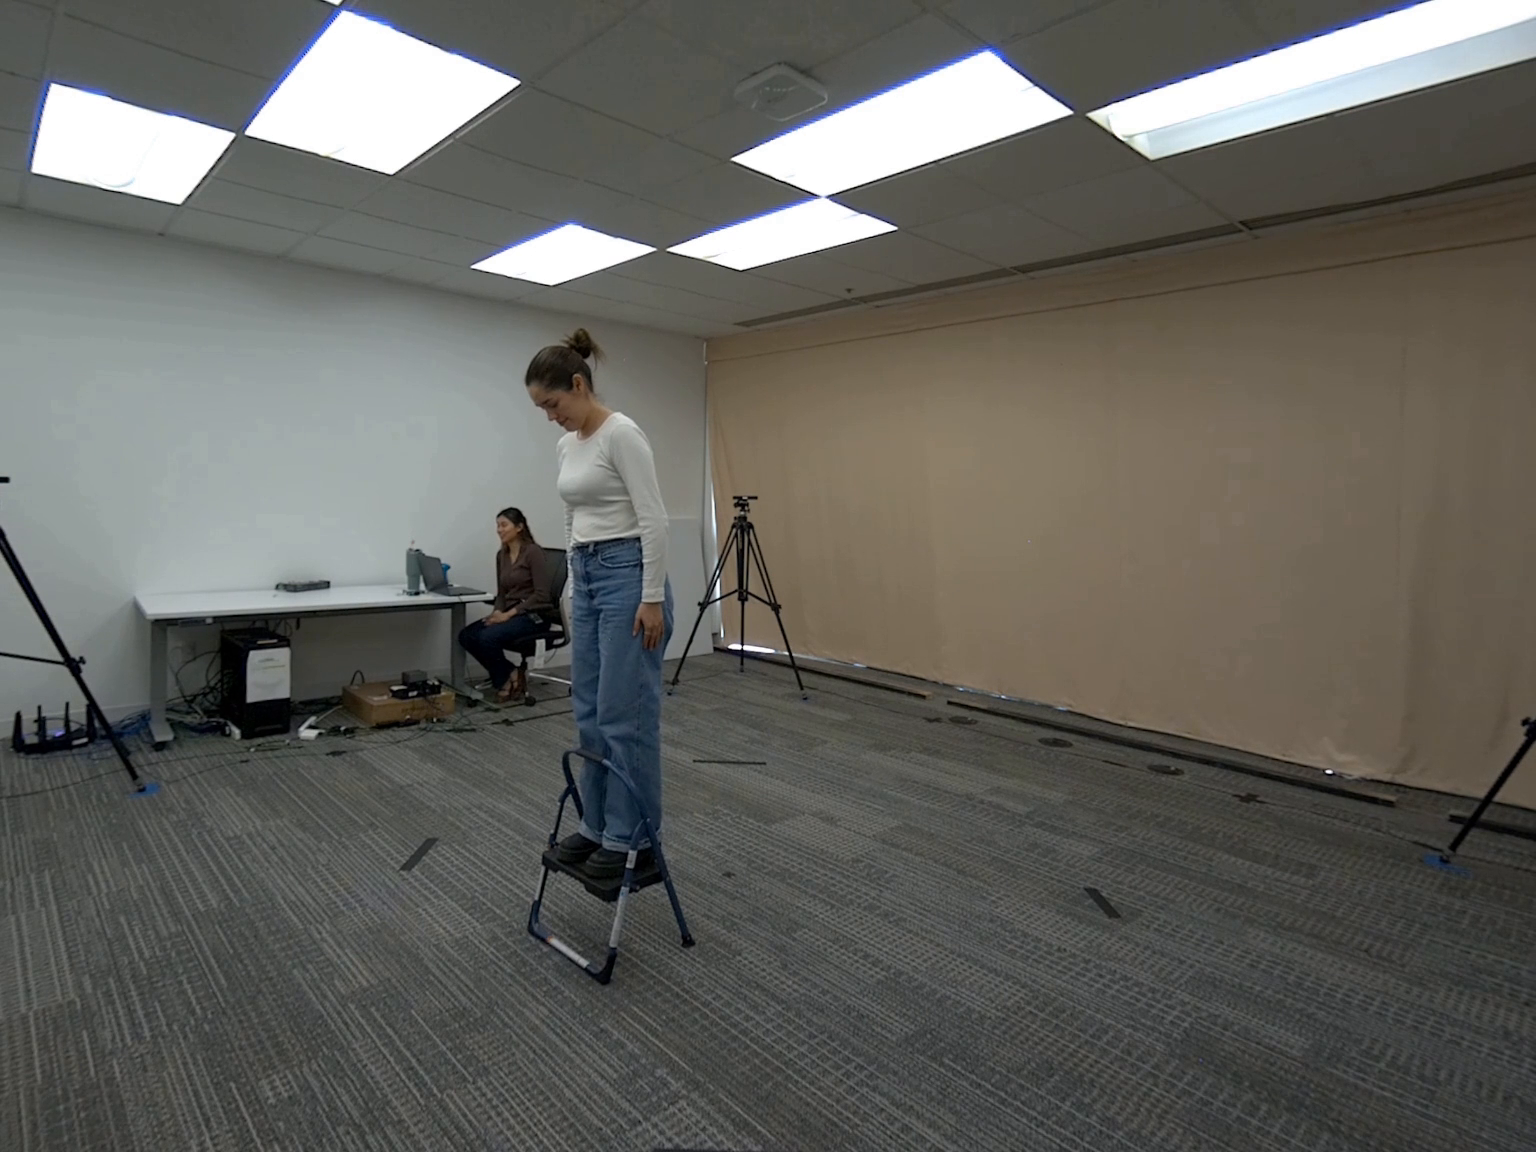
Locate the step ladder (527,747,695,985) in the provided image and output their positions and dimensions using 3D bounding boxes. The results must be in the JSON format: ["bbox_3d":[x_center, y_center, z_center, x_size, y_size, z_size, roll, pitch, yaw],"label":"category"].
[{"bbox_3d":[-0.500,0.839,2.627,0.441,0.604,0.341,4,5,43],"label":"step ladder"}]
